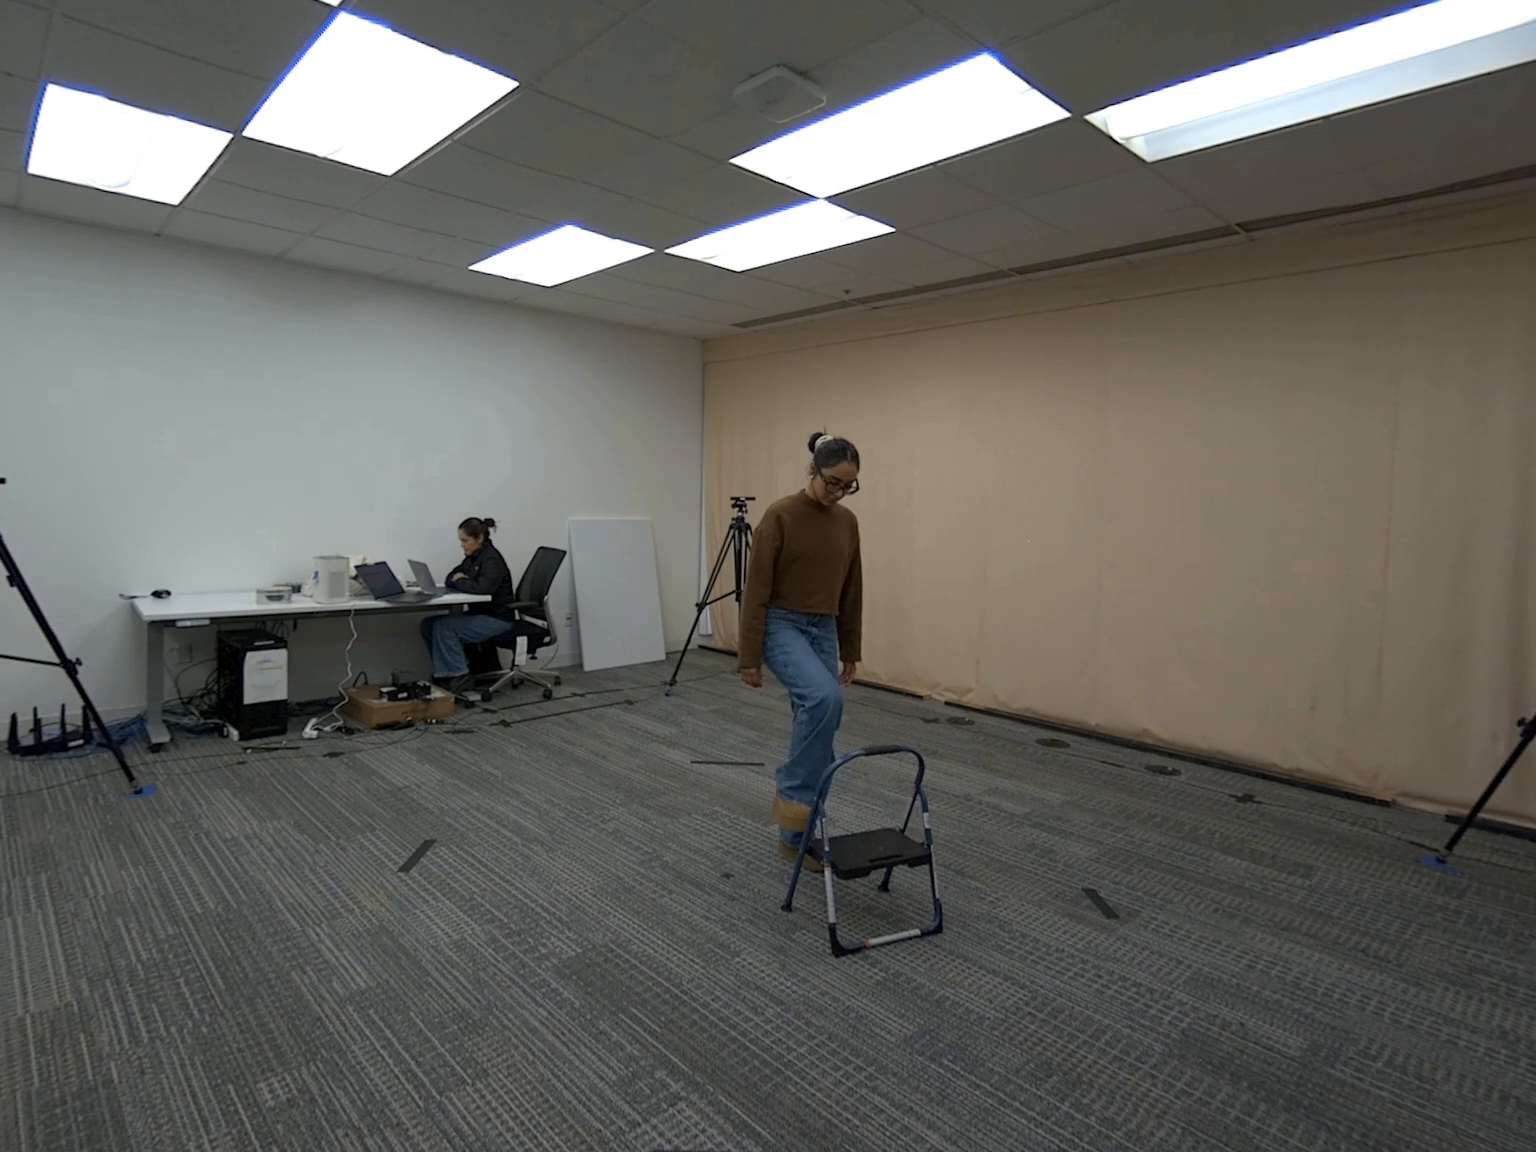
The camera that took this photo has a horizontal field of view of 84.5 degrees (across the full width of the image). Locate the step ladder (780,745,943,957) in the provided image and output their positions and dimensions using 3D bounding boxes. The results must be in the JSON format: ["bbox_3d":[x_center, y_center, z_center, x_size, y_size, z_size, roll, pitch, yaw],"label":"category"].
[{"bbox_3d":[0.313,0.842,2.785,0.422,0.605,0.356,0,4,-26],"label":"step ladder"}]
